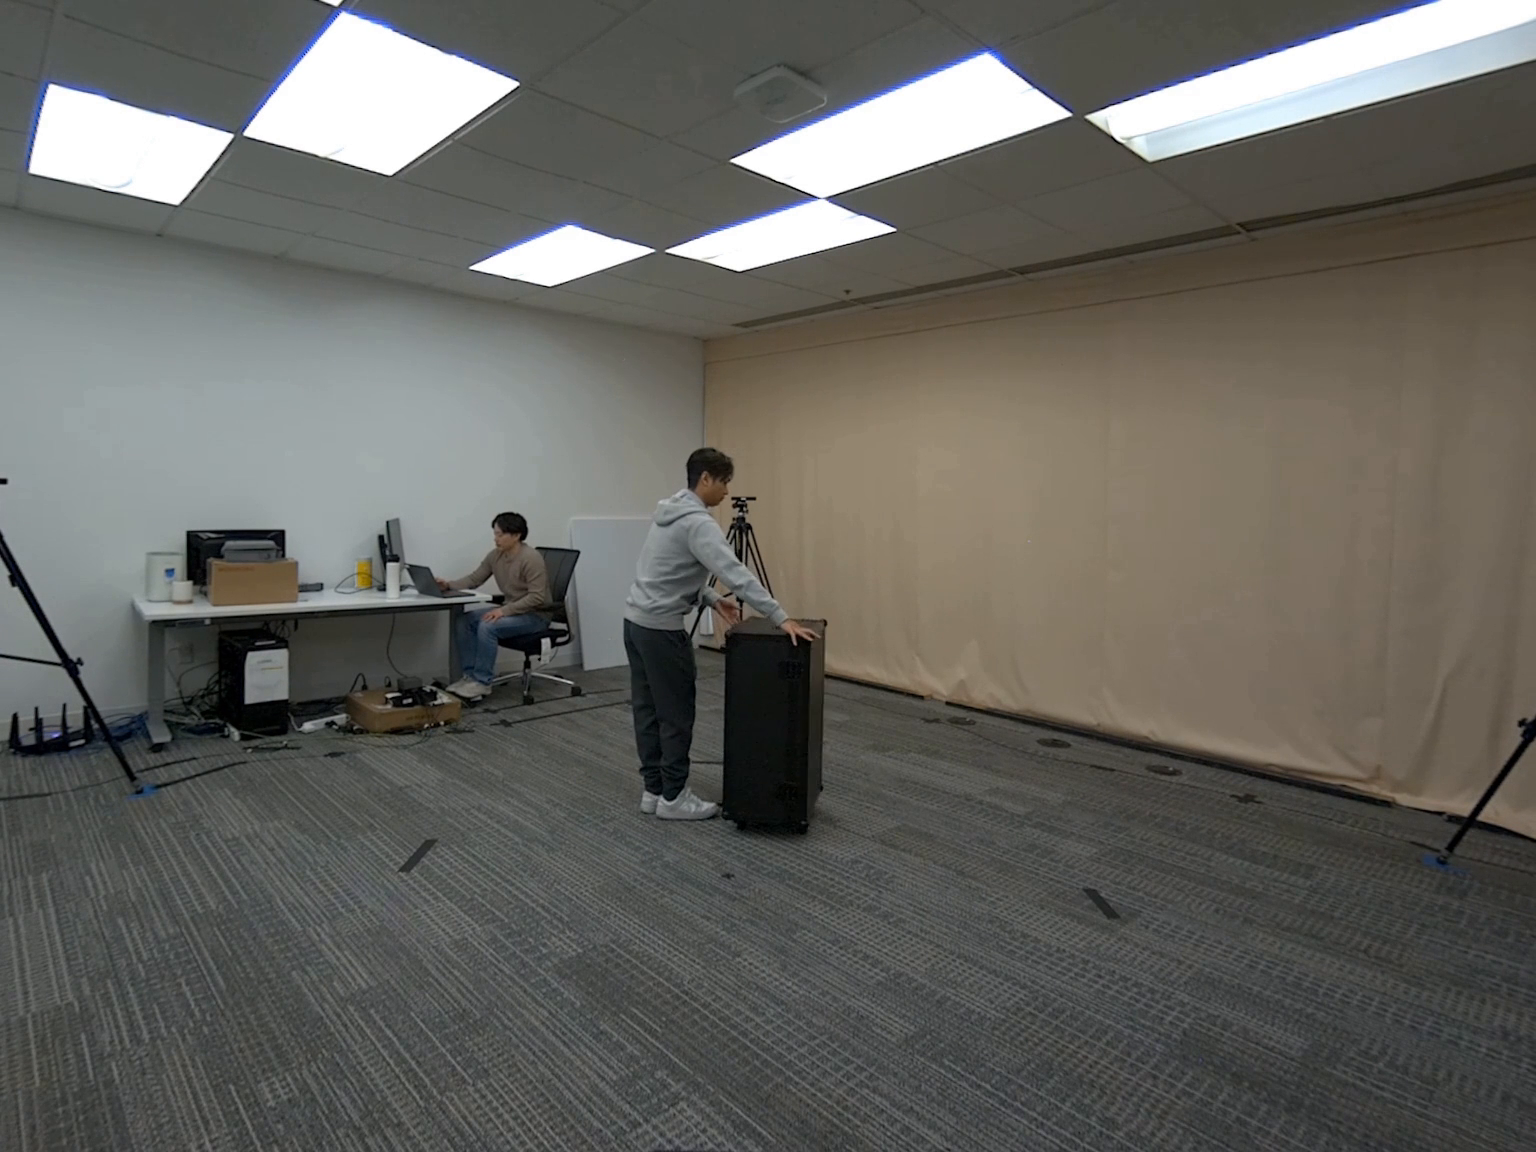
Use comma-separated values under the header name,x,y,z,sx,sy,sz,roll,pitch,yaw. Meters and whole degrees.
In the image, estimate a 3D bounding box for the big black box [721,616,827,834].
name,x,y,z,sx,sy,sz,roll,pitch,yaw
big black box,0.018,0.638,3.647,0.400,0.859,0.517,1,4,13
